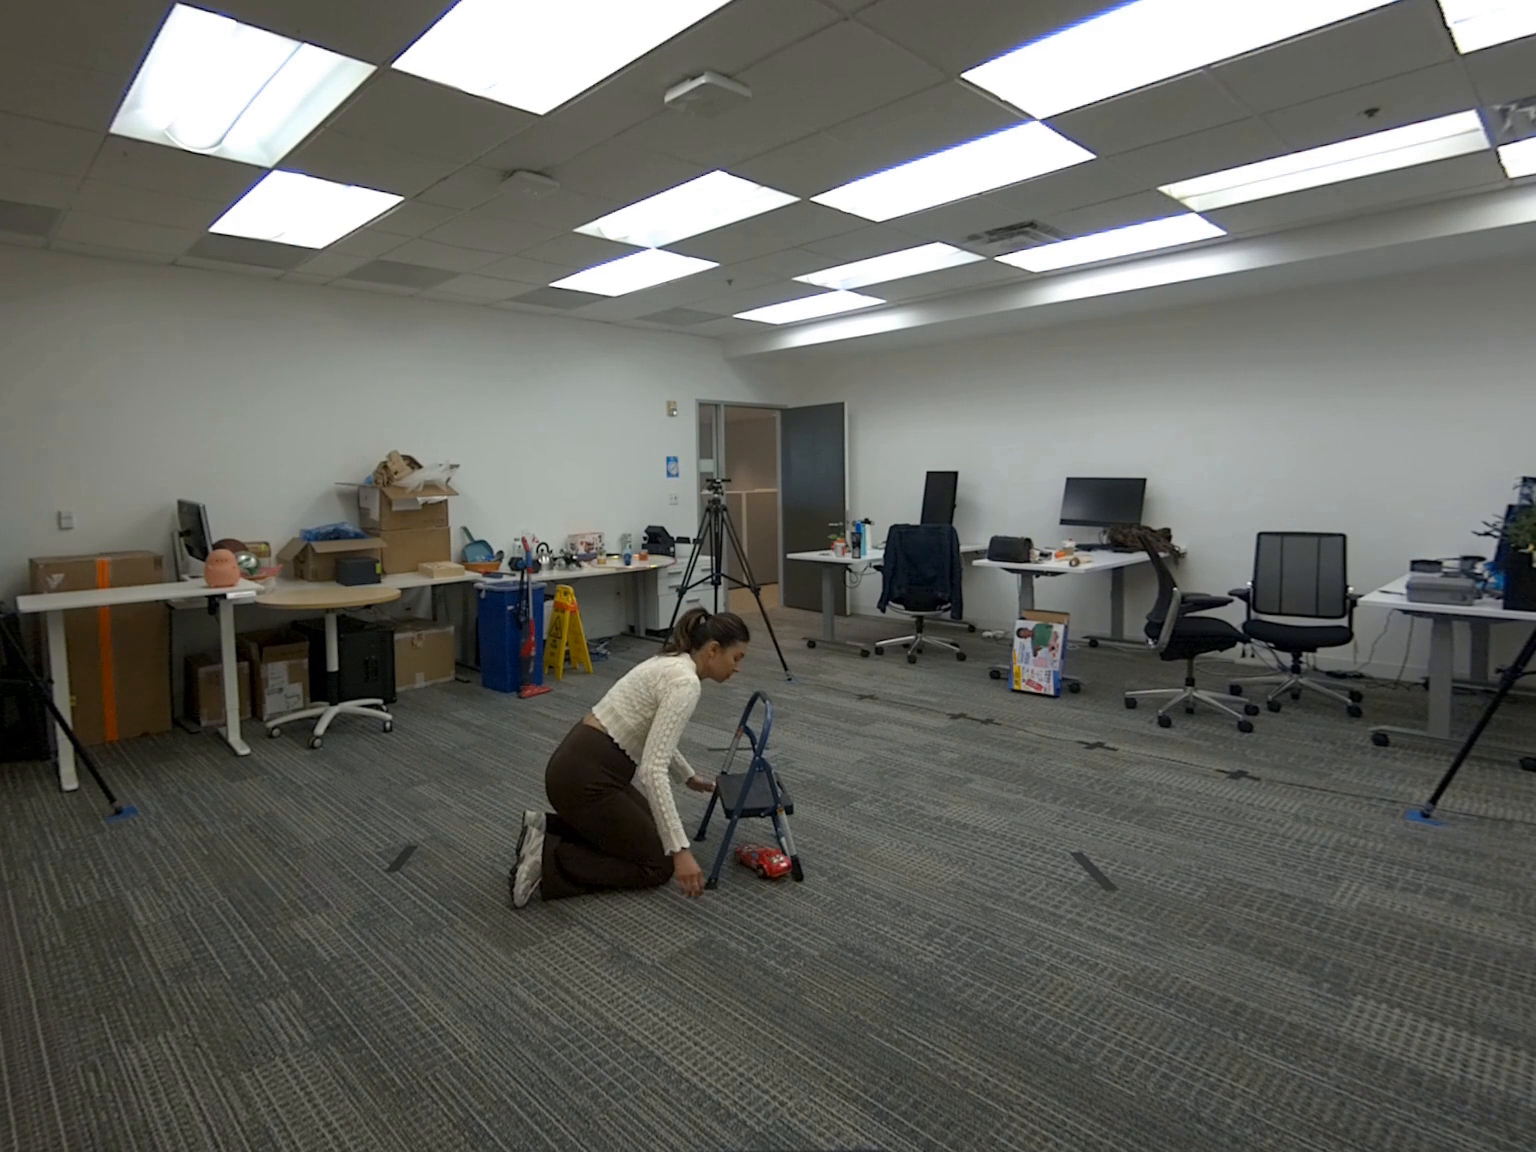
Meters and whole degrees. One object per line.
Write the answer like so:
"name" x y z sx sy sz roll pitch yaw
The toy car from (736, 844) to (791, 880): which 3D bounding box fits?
"toy car" -0.023 1.011 3.077 0.127 0.083 0.260 -6 -1 -38
